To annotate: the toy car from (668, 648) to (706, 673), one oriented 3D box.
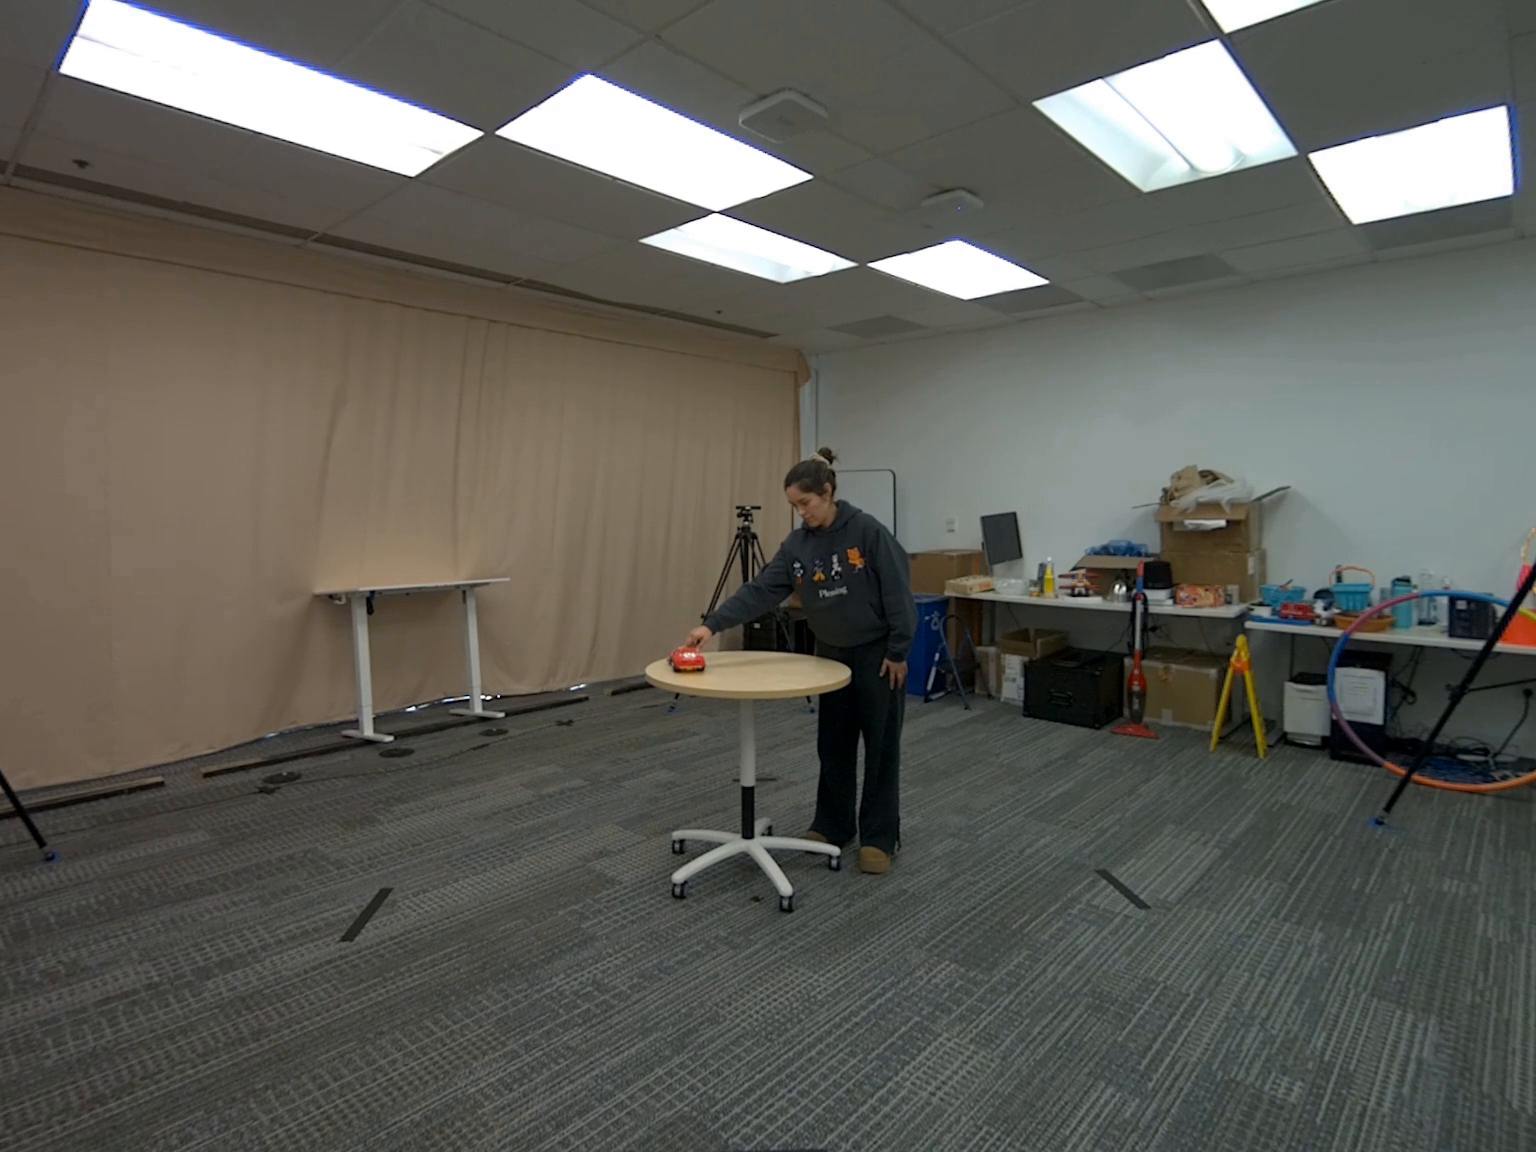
[{"bbox_3d":[-0.287,0.319,3.144,0.129,0.083,0.256,-1,-7,-10],"label":"toy car"}]
